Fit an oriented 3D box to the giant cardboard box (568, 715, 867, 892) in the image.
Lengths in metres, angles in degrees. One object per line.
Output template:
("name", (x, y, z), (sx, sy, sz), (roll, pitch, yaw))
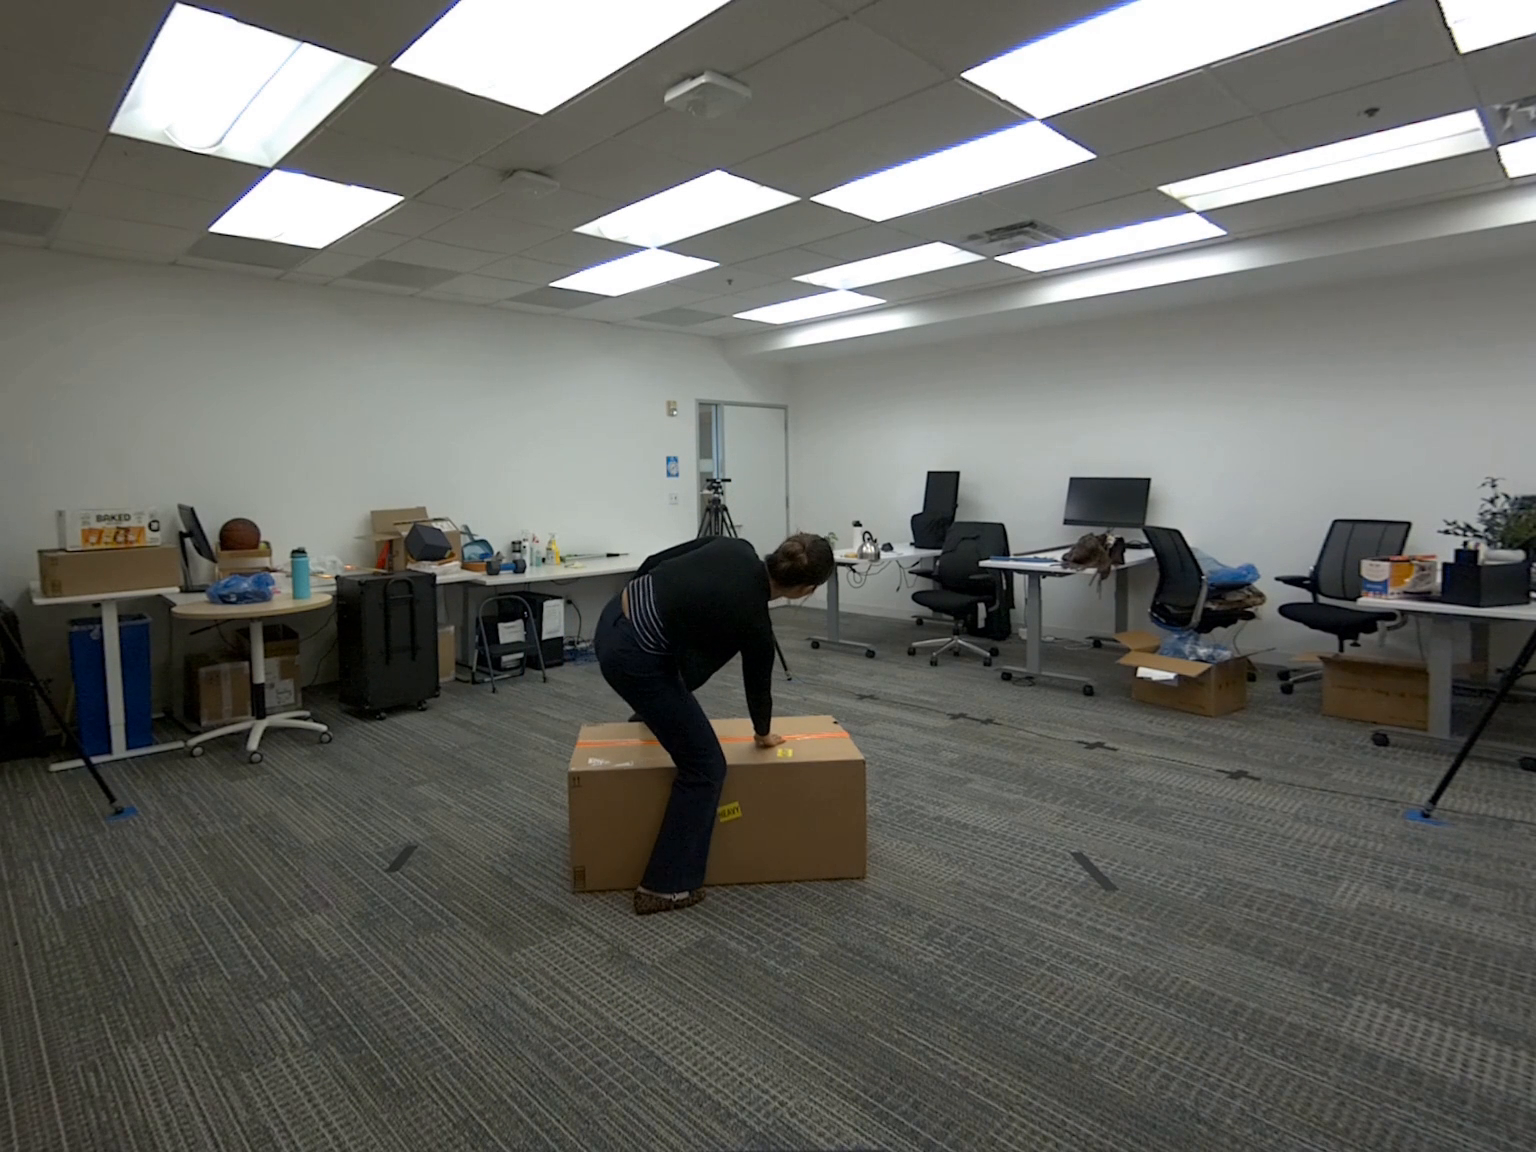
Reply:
("giant cardboard box", (-0.202, 0.816, 3.206), (1.021, 0.424, 0.583), (-1, 6, -5))
